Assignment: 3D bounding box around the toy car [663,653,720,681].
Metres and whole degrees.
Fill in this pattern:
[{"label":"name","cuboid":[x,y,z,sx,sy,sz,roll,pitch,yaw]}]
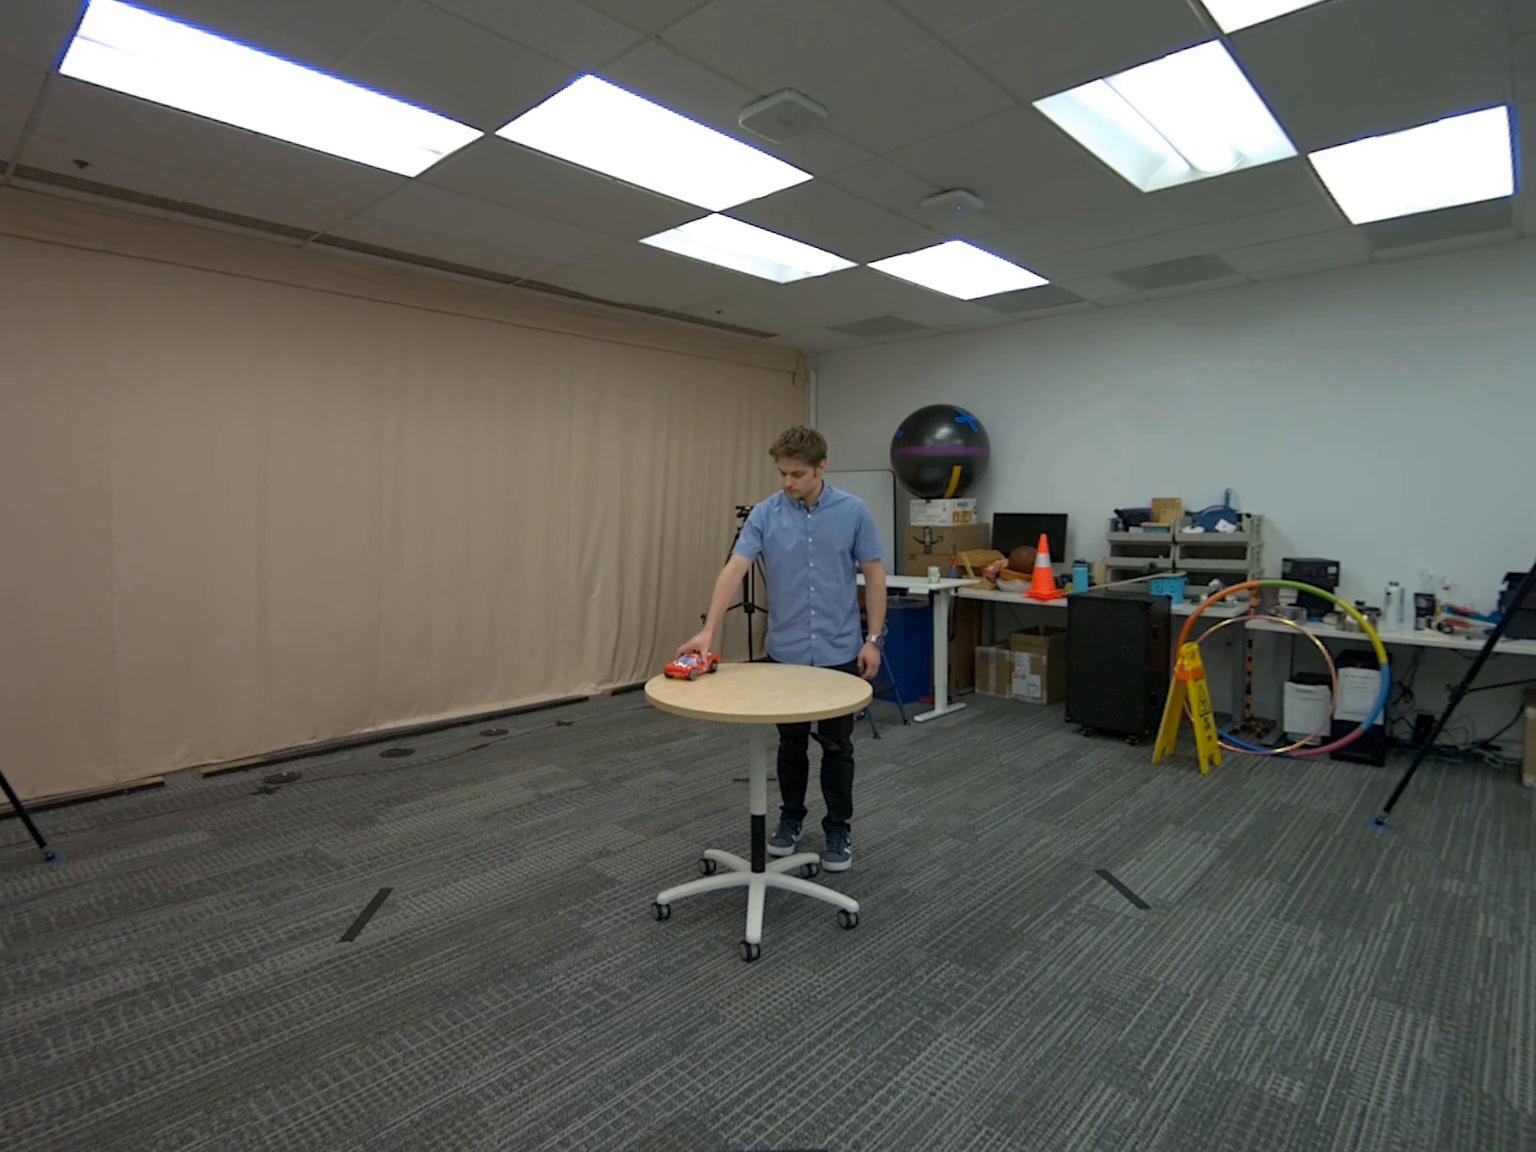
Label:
[{"label":"toy car","cuboid":[-0.261,0.325,3.039,0.134,0.082,0.250,2,17,28]}]
